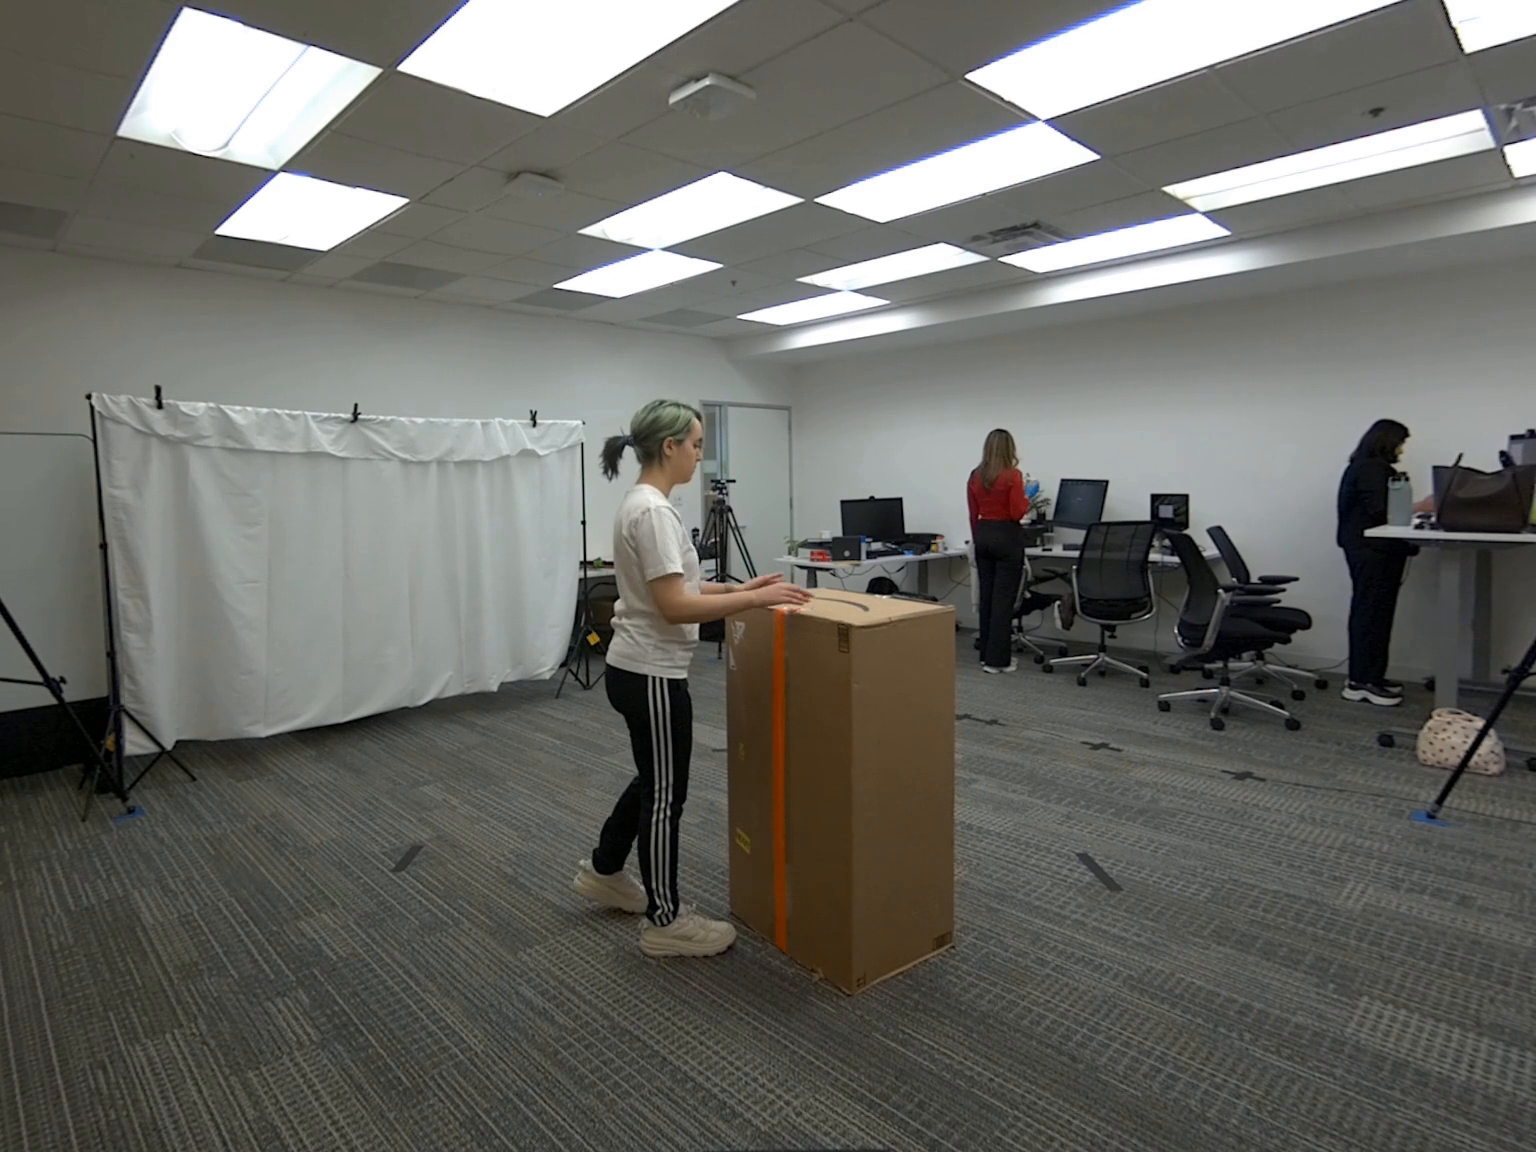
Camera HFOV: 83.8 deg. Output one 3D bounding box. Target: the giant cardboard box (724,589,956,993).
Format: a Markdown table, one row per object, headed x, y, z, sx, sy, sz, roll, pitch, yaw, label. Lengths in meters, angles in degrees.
| x | y | z | sx | sy | sz | roll | pitch | yaw | label |
| --- | --- | --- | --- | --- | --- | --- | --- | --- | --- |
| 0.210 | 0.592 | 2.620 | 0.435 | 1.023 | 0.602 | -3 | 5 | -37 | giant cardboard box |
